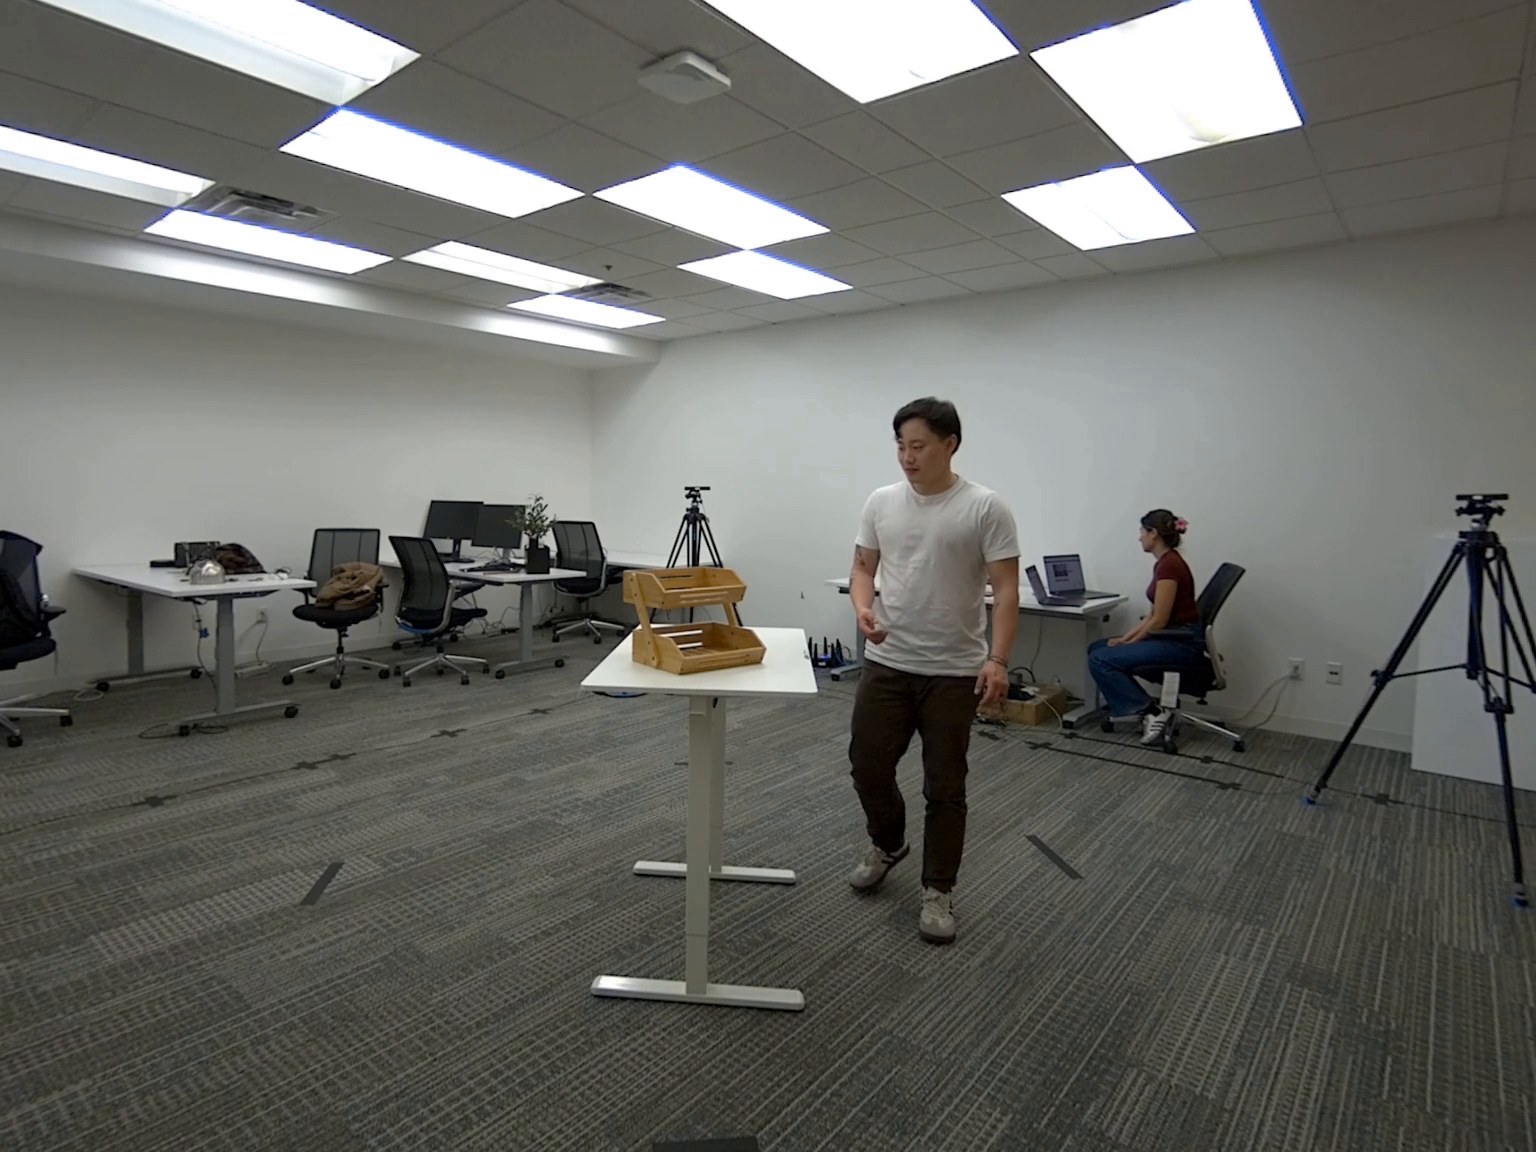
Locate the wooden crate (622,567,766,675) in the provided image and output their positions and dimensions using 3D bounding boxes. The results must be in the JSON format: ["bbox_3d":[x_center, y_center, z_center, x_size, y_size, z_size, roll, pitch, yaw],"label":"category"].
[{"bbox_3d":[-0.223,0.113,2.483,0.315,0.273,0.312,-2,4,-40],"label":"wooden crate"}]
